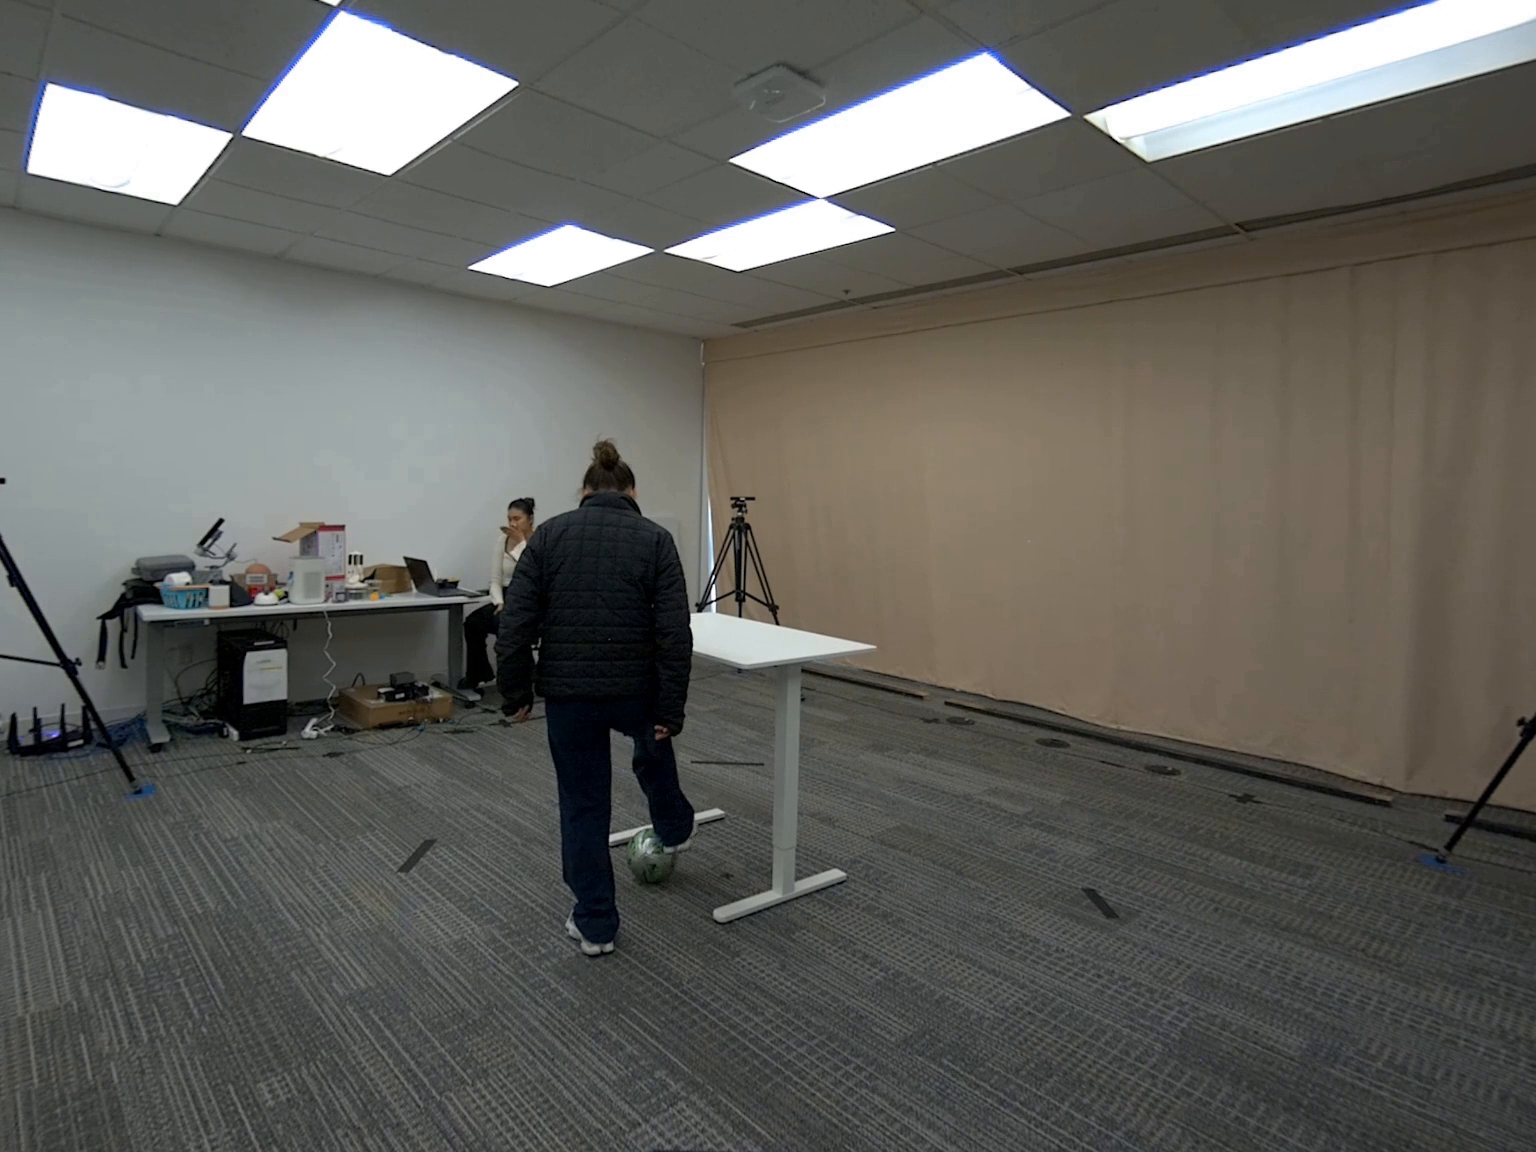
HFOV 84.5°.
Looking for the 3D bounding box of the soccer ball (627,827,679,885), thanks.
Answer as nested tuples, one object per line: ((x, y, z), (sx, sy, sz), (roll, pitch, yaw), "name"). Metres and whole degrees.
((-0.428, 1.010, 3.053), (0.187, 0.187, 0.188), (1, 4, -1), "soccer ball")
